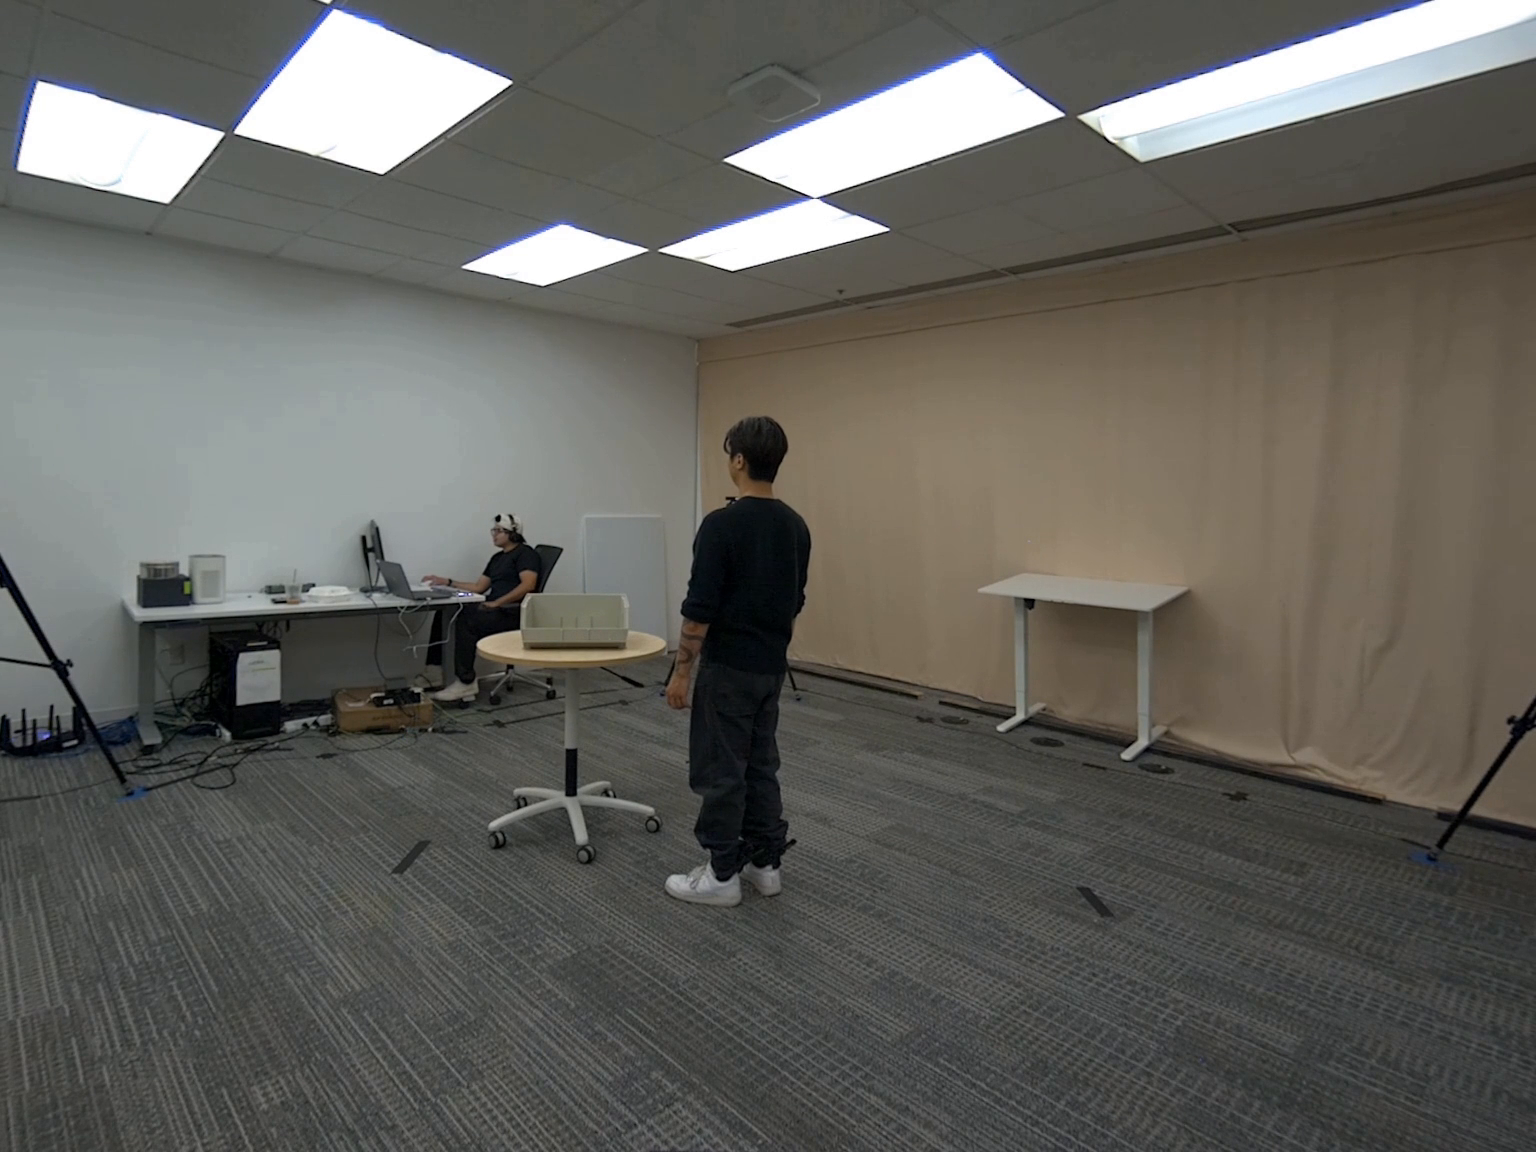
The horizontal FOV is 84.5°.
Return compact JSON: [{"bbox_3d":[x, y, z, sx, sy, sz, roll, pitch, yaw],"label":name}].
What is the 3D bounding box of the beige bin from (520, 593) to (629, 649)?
[{"bbox_3d":[-0.793,0.187,3.463,0.419,0.188,0.381,0,4,-11],"label":"beige bin"}]
